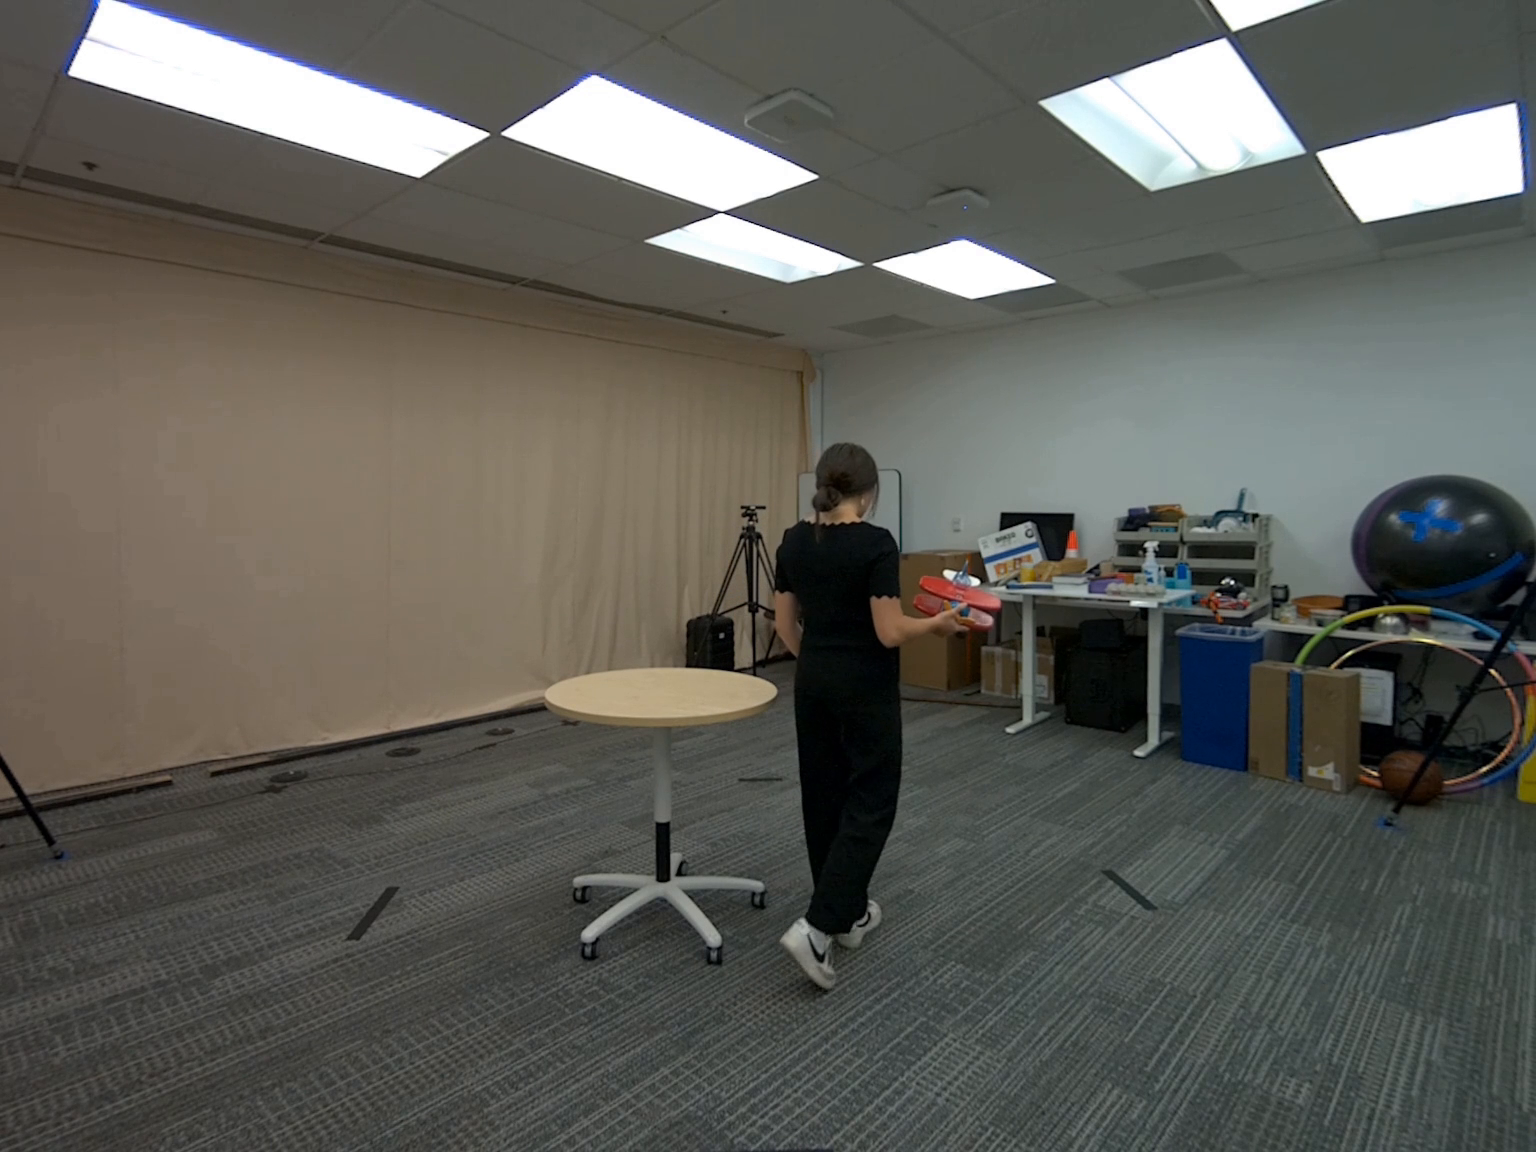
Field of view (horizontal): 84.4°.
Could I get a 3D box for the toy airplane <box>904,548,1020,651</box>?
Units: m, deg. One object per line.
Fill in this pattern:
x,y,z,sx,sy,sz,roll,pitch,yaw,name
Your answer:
0.607,0.070,2.689,0.249,0.265,0.154,-6,-39,-8,toy airplane
